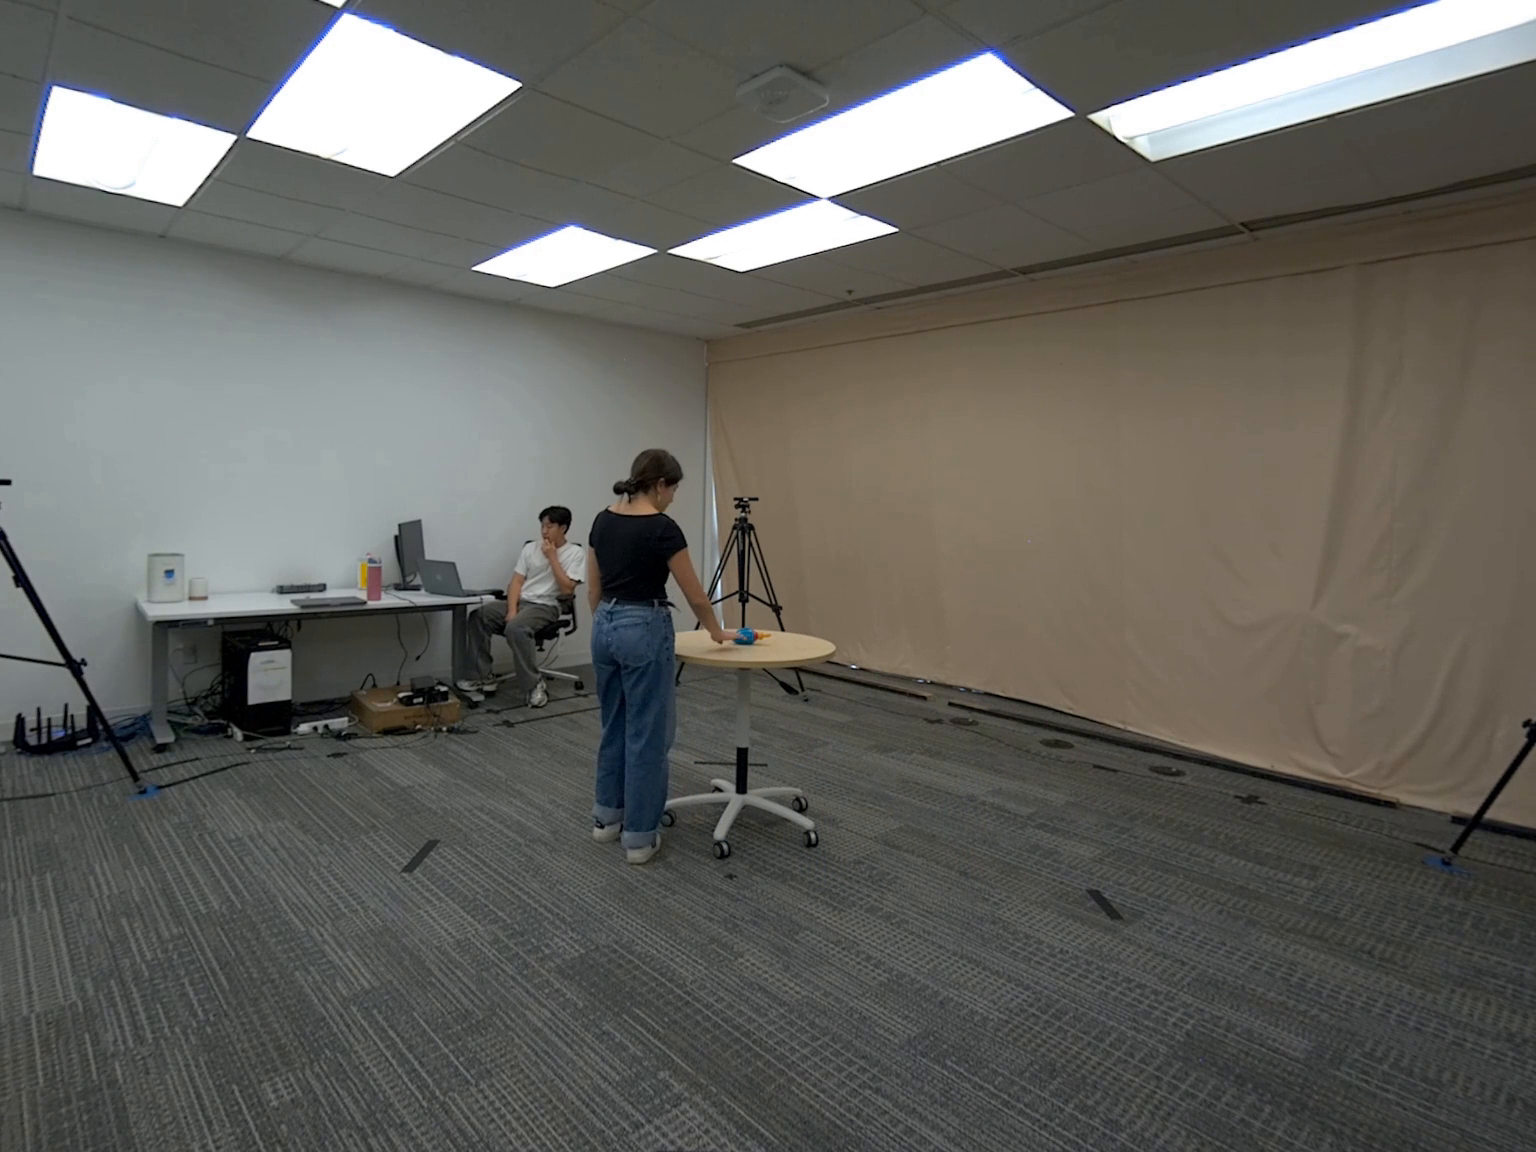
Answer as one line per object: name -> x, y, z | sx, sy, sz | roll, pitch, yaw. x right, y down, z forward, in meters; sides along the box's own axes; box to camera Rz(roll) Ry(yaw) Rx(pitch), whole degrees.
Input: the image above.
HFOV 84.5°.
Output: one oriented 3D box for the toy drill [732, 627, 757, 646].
toy drill -> -0.076, 0.255, 3.578 | 0.170, 0.061, 0.146 | -7, 3, 5
